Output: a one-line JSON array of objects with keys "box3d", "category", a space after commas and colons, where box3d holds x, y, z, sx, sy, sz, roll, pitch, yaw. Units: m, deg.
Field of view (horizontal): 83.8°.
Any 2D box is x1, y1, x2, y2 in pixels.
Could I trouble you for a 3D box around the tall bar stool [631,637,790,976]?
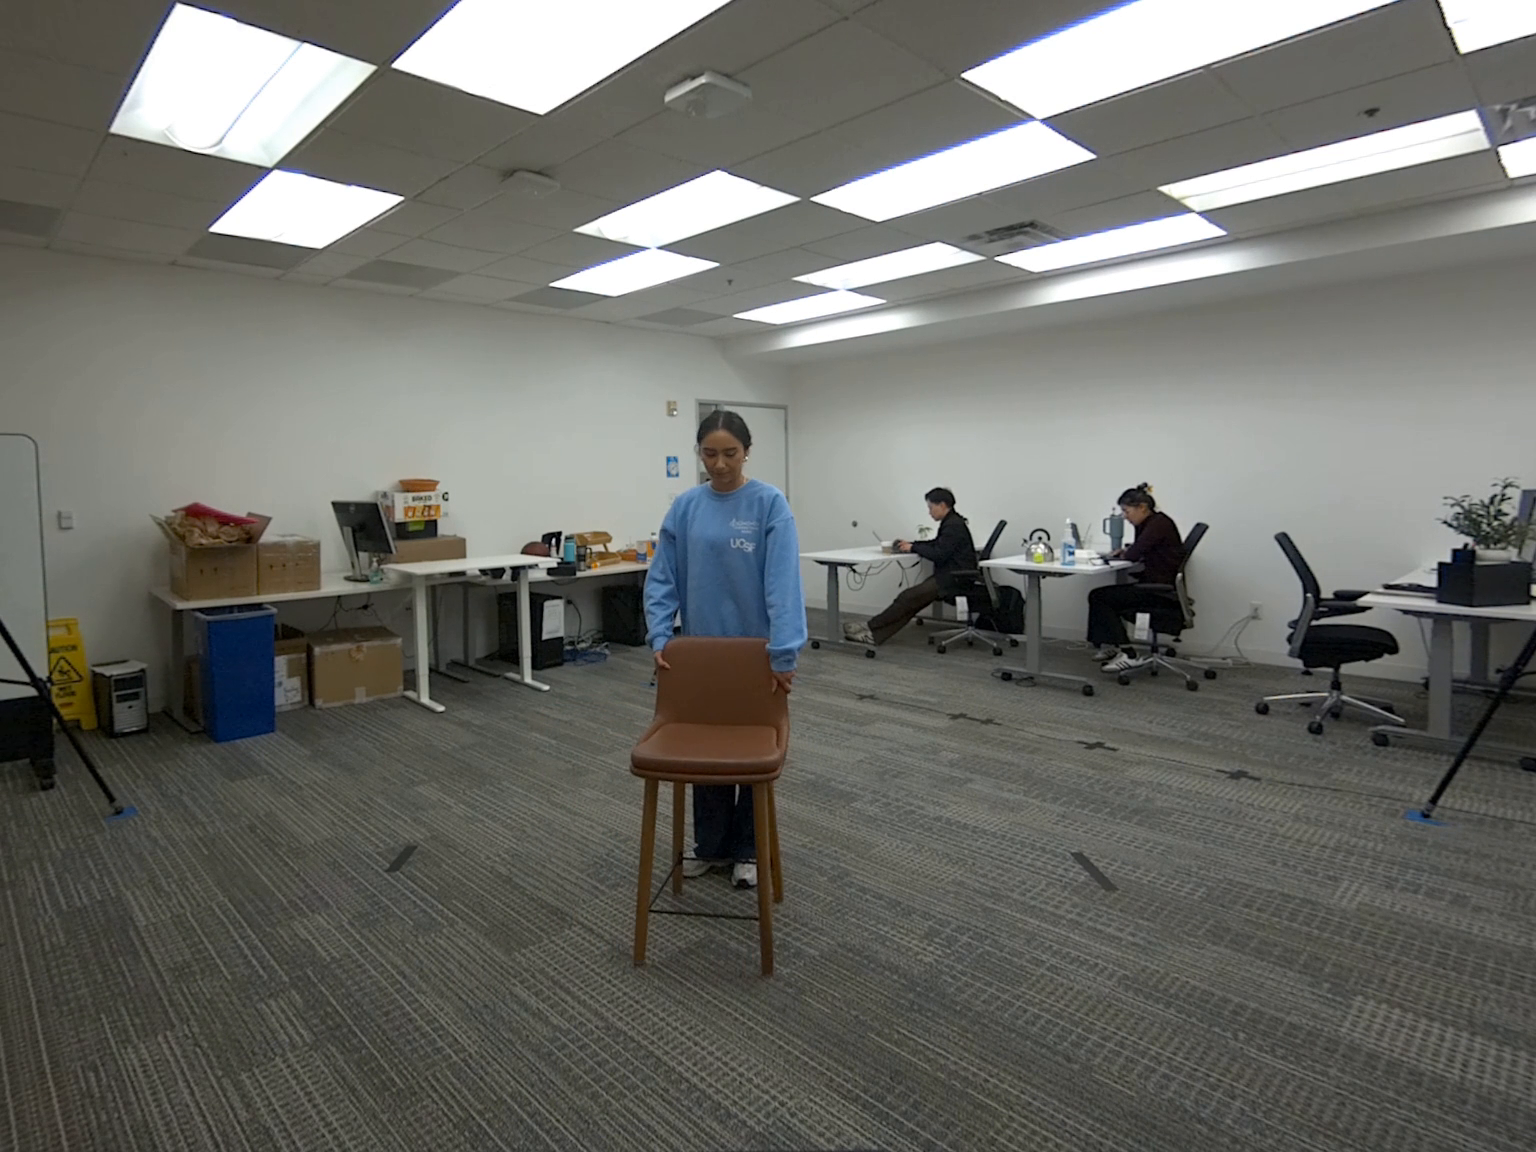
[{"box3d": [-0.165, 0.669, 2.628, 0.461, 0.888, 0.464, 0, 2, 10], "category": "tall bar stool"}]
